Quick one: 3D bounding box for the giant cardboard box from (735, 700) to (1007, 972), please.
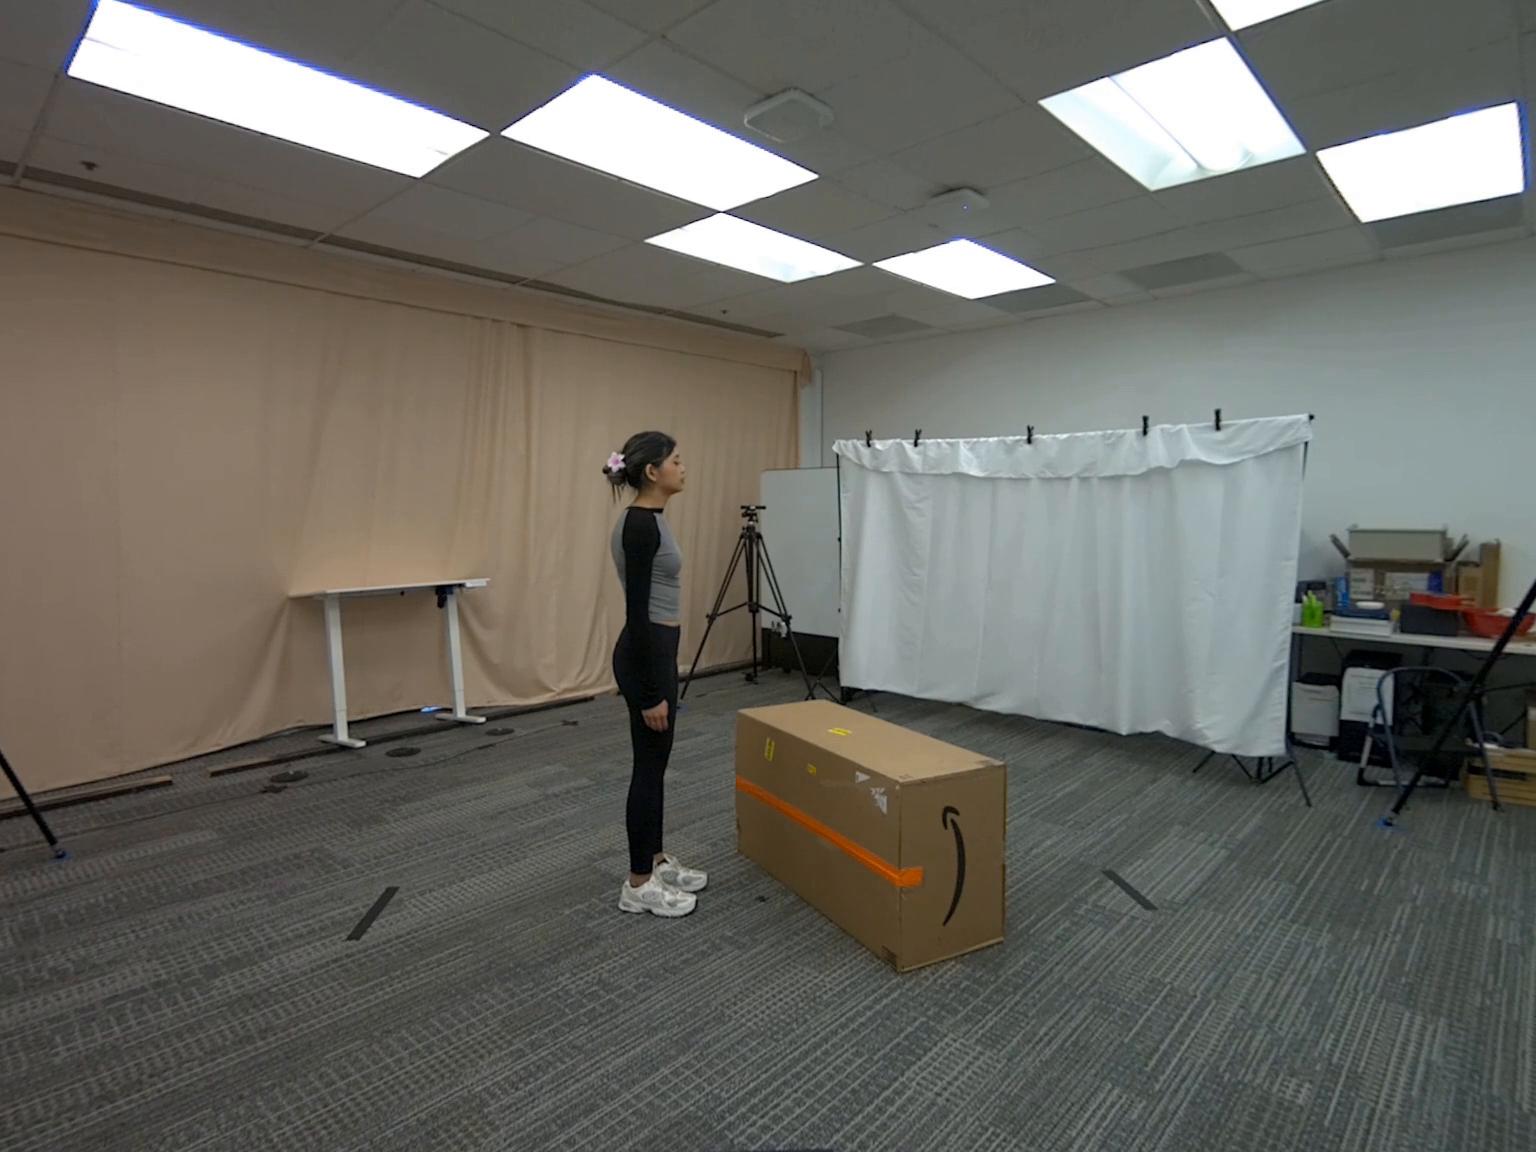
[{"bbox_3d":[0.315,0.850,3.033,0.415,0.576,1.055,-2,4,-29],"label":"giant cardboard box"}]
